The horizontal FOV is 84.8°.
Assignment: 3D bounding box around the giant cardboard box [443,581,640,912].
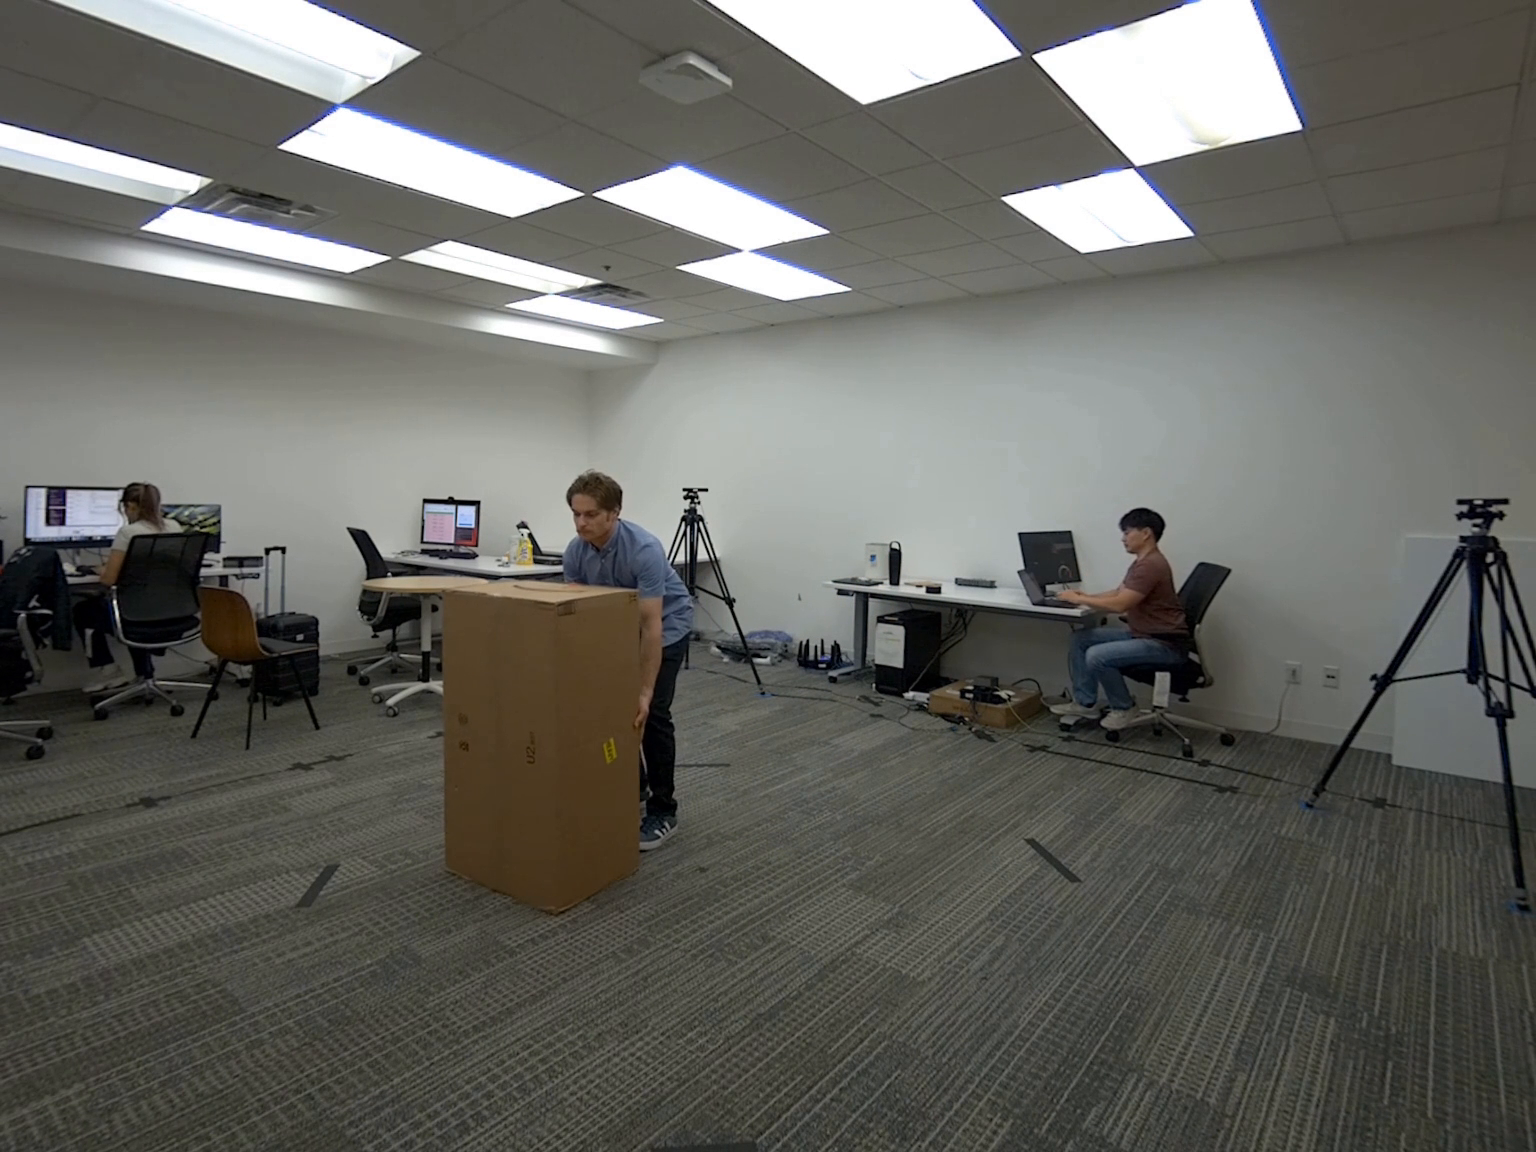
[{"bbox_3d":[-0.827,0.559,3.056,0.595,1.023,0.414,2,3,33],"label":"giant cardboard box"}]
